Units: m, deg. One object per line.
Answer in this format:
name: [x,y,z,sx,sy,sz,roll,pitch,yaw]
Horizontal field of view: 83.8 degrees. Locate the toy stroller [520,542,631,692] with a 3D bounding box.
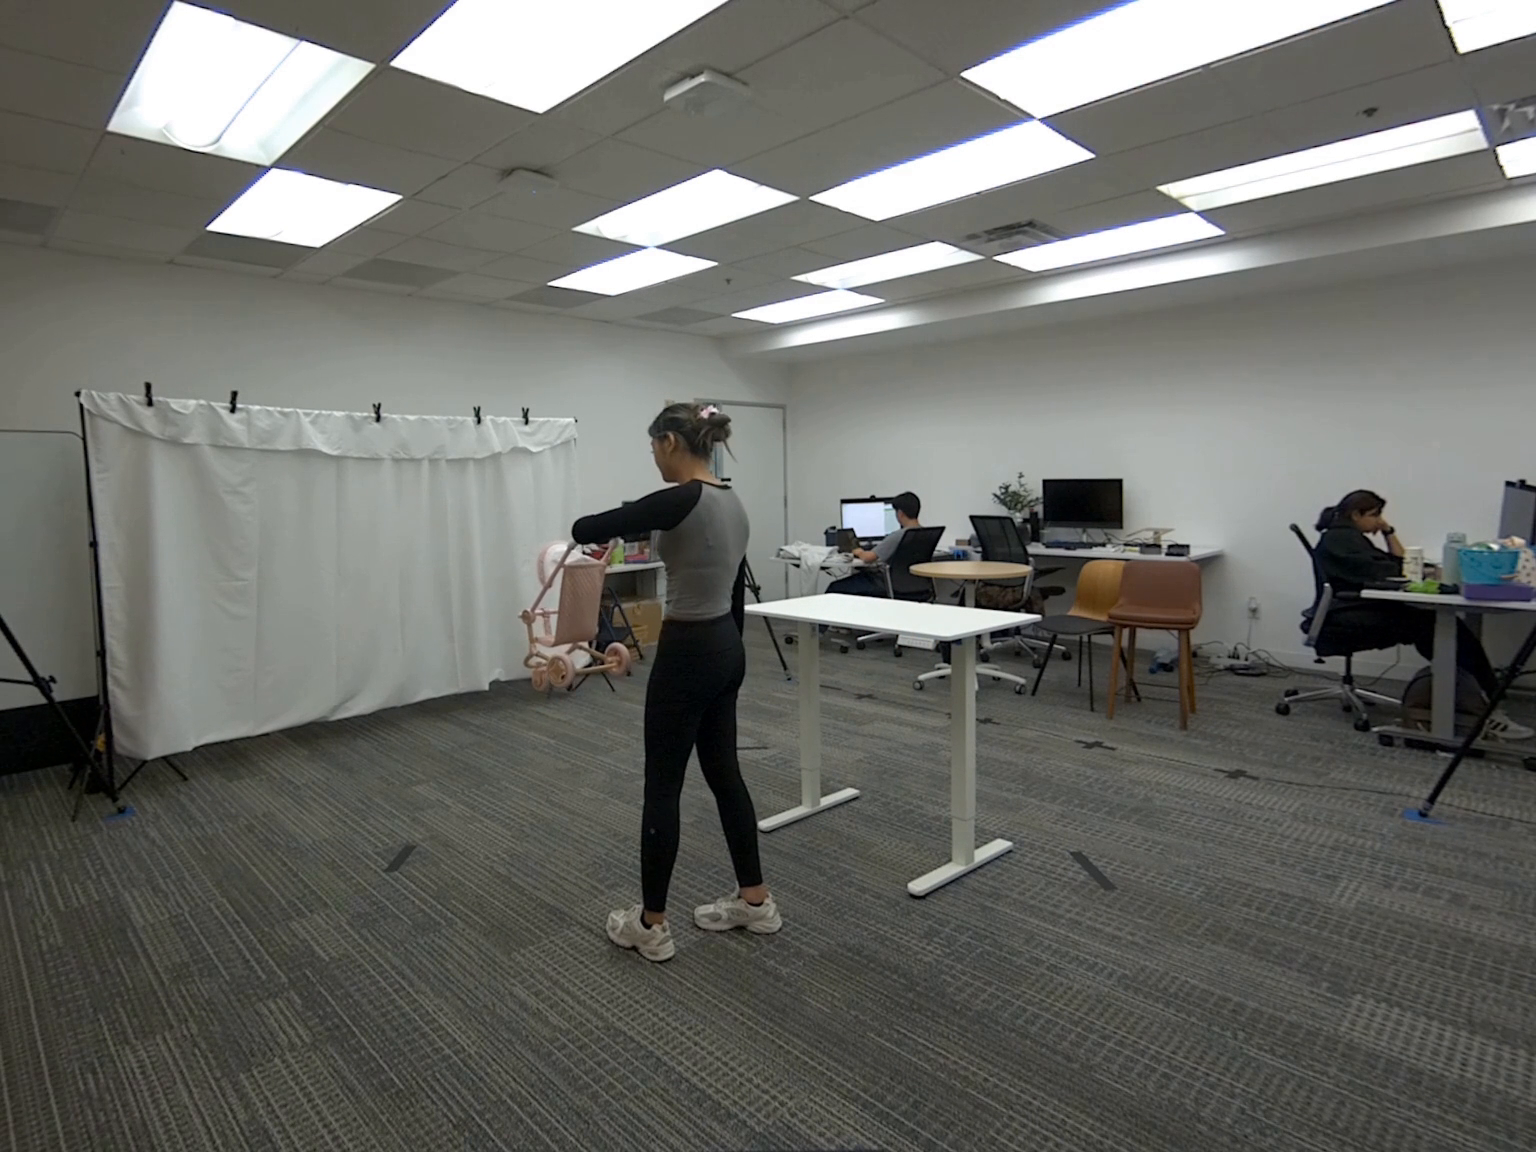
toy stroller: [-0.653,0.125,2.770,0.351,0.535,0.273,1,1,40]
